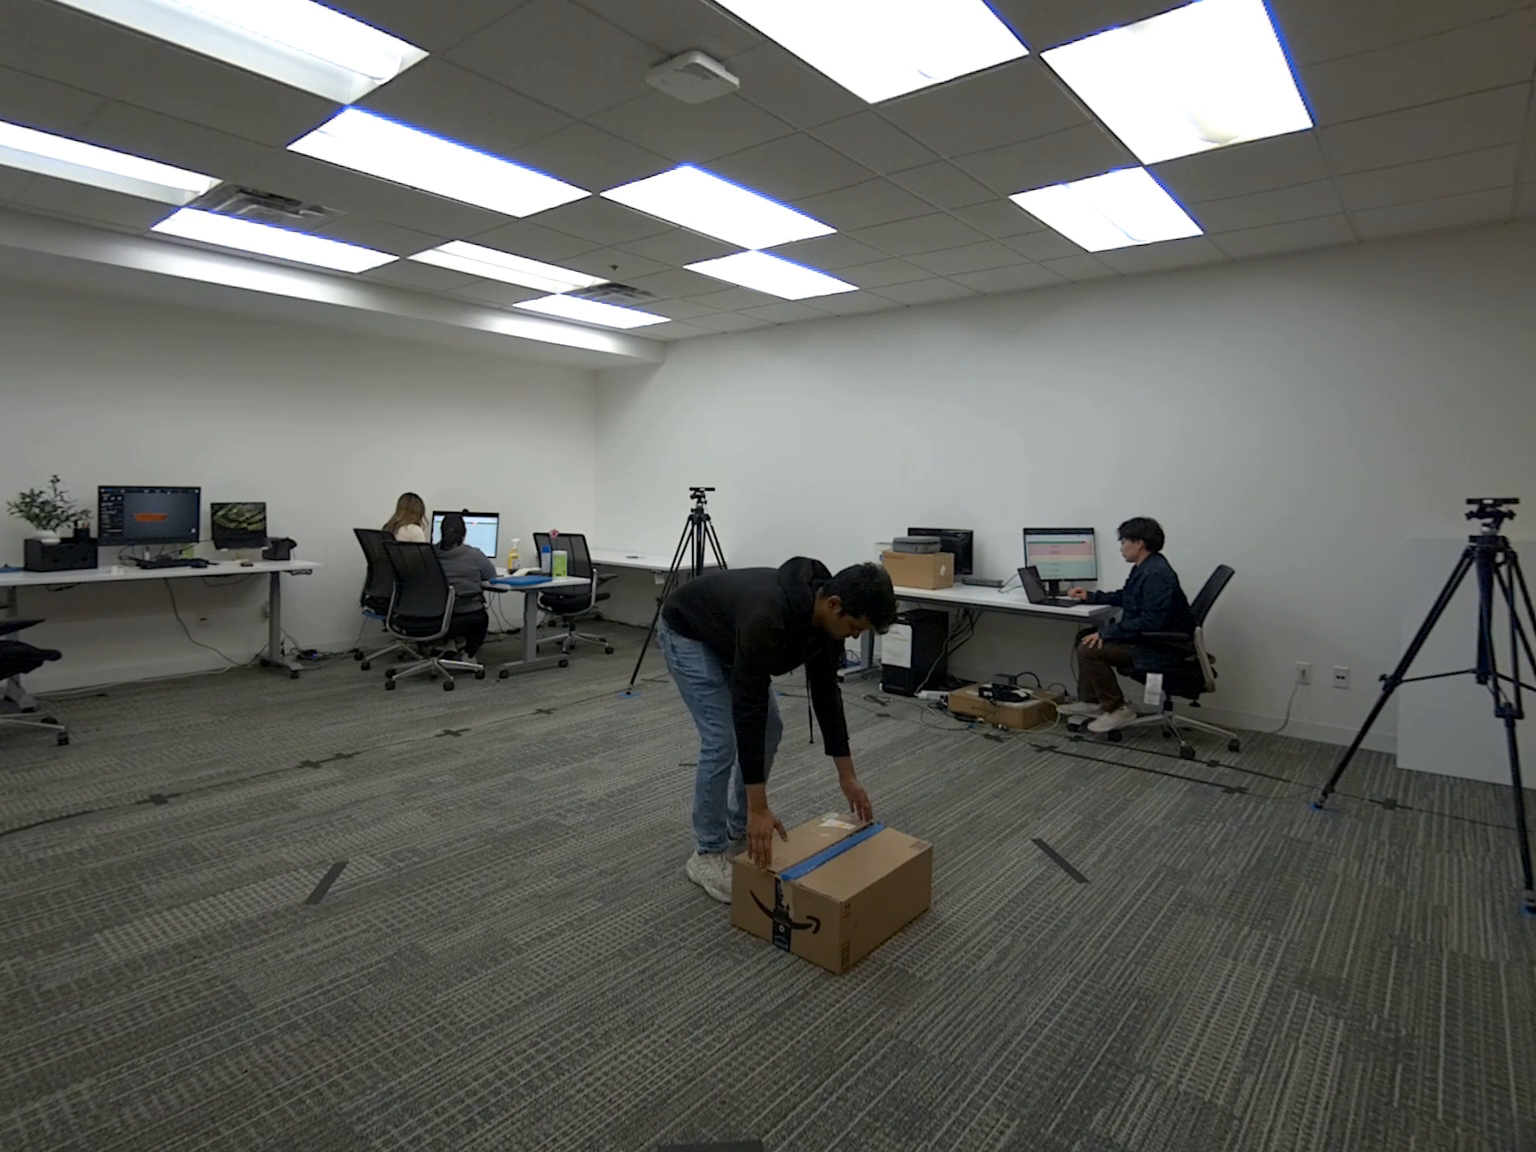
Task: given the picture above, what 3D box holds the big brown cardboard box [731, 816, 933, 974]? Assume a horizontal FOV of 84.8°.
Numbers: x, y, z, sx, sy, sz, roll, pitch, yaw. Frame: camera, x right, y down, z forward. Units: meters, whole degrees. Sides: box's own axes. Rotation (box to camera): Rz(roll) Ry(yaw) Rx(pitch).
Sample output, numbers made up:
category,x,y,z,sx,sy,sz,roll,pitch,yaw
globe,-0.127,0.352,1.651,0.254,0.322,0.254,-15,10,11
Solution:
category,x,y,z,sx,sy,sz,roll,pitch,yaw
big brown cardboard box,0.216,0.998,2.777,0.432,0.232,0.572,5,8,39
